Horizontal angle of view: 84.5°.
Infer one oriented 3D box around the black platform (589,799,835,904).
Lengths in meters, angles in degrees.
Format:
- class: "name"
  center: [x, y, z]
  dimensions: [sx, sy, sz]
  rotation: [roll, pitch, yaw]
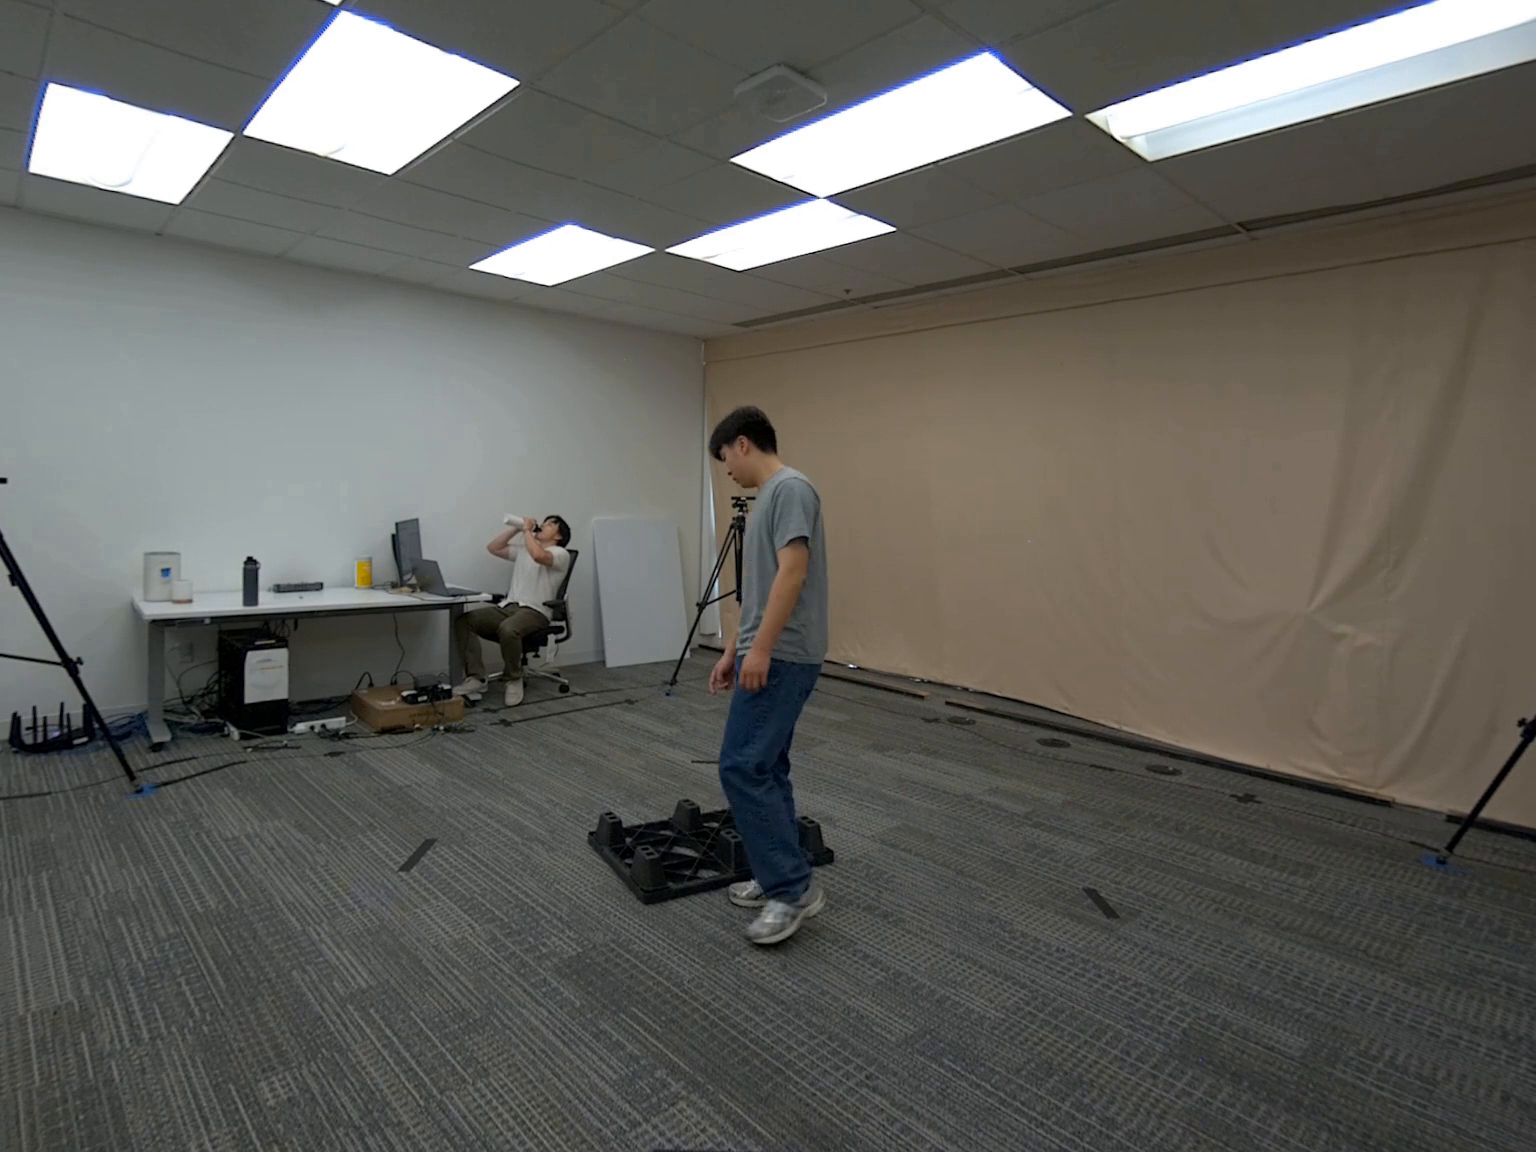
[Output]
- class: "black platform"
  center: [-0.243, 1.020, 3.302]
  dimensions: [0.789, 0.143, 0.619]
  rotation: [-2, 5, -30]
